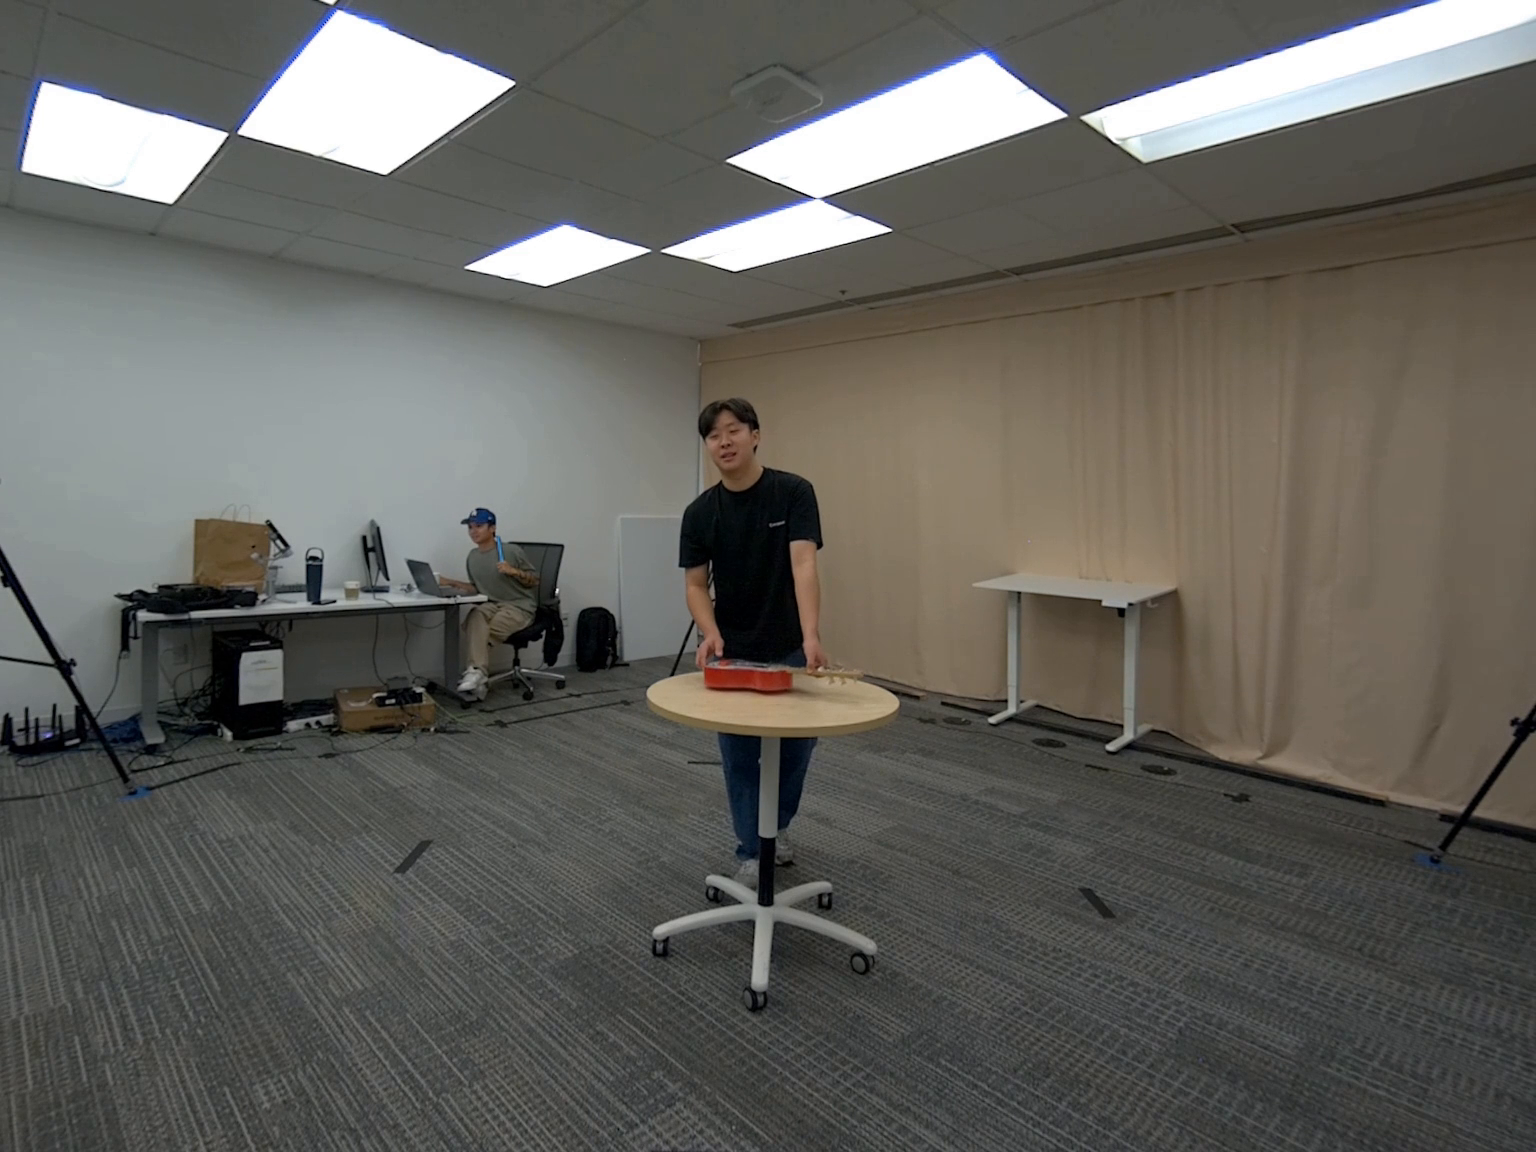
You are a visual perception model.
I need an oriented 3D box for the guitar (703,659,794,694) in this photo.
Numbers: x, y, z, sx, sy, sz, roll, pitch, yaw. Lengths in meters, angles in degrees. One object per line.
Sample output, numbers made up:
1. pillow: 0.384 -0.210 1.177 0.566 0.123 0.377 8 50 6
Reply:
1. guitar: 0.025 0.320 2.578 0.508 0.070 0.189 2 4 30
